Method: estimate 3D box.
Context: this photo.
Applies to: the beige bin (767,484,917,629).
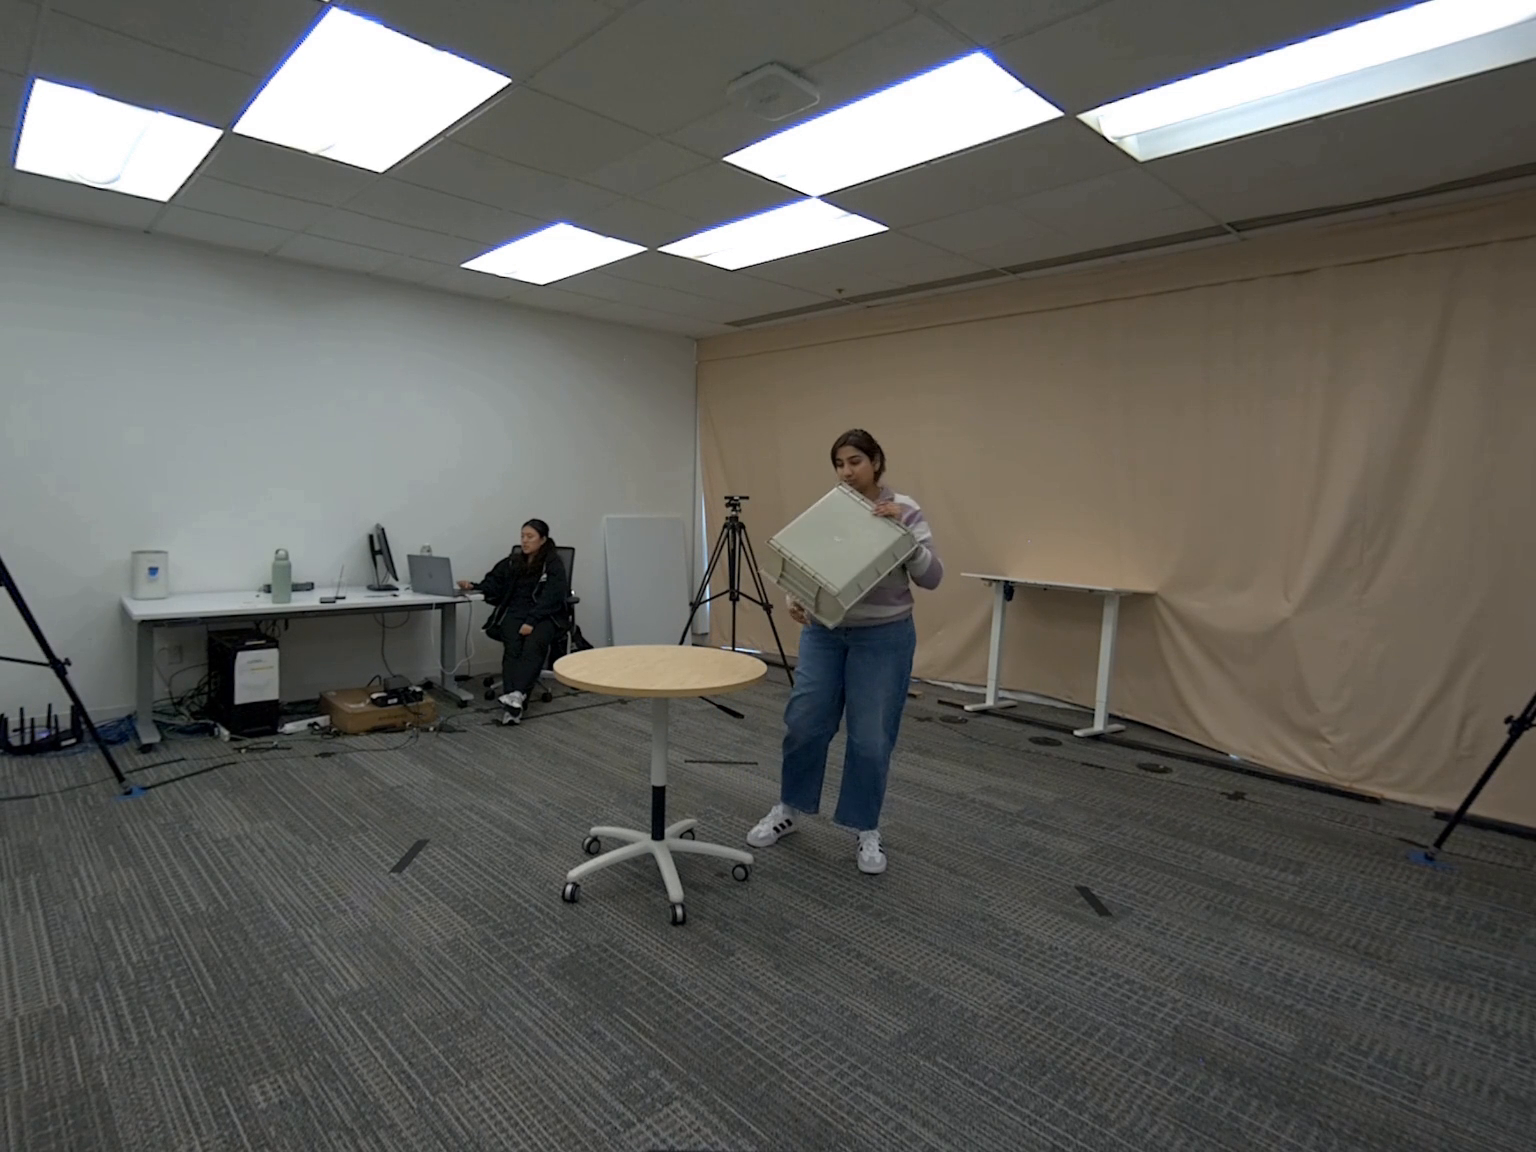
[{"bbox_3d":[0.238,-0.073,2.954,0.386,0.185,0.421,38,60,22],"label":"beige bin"}]
